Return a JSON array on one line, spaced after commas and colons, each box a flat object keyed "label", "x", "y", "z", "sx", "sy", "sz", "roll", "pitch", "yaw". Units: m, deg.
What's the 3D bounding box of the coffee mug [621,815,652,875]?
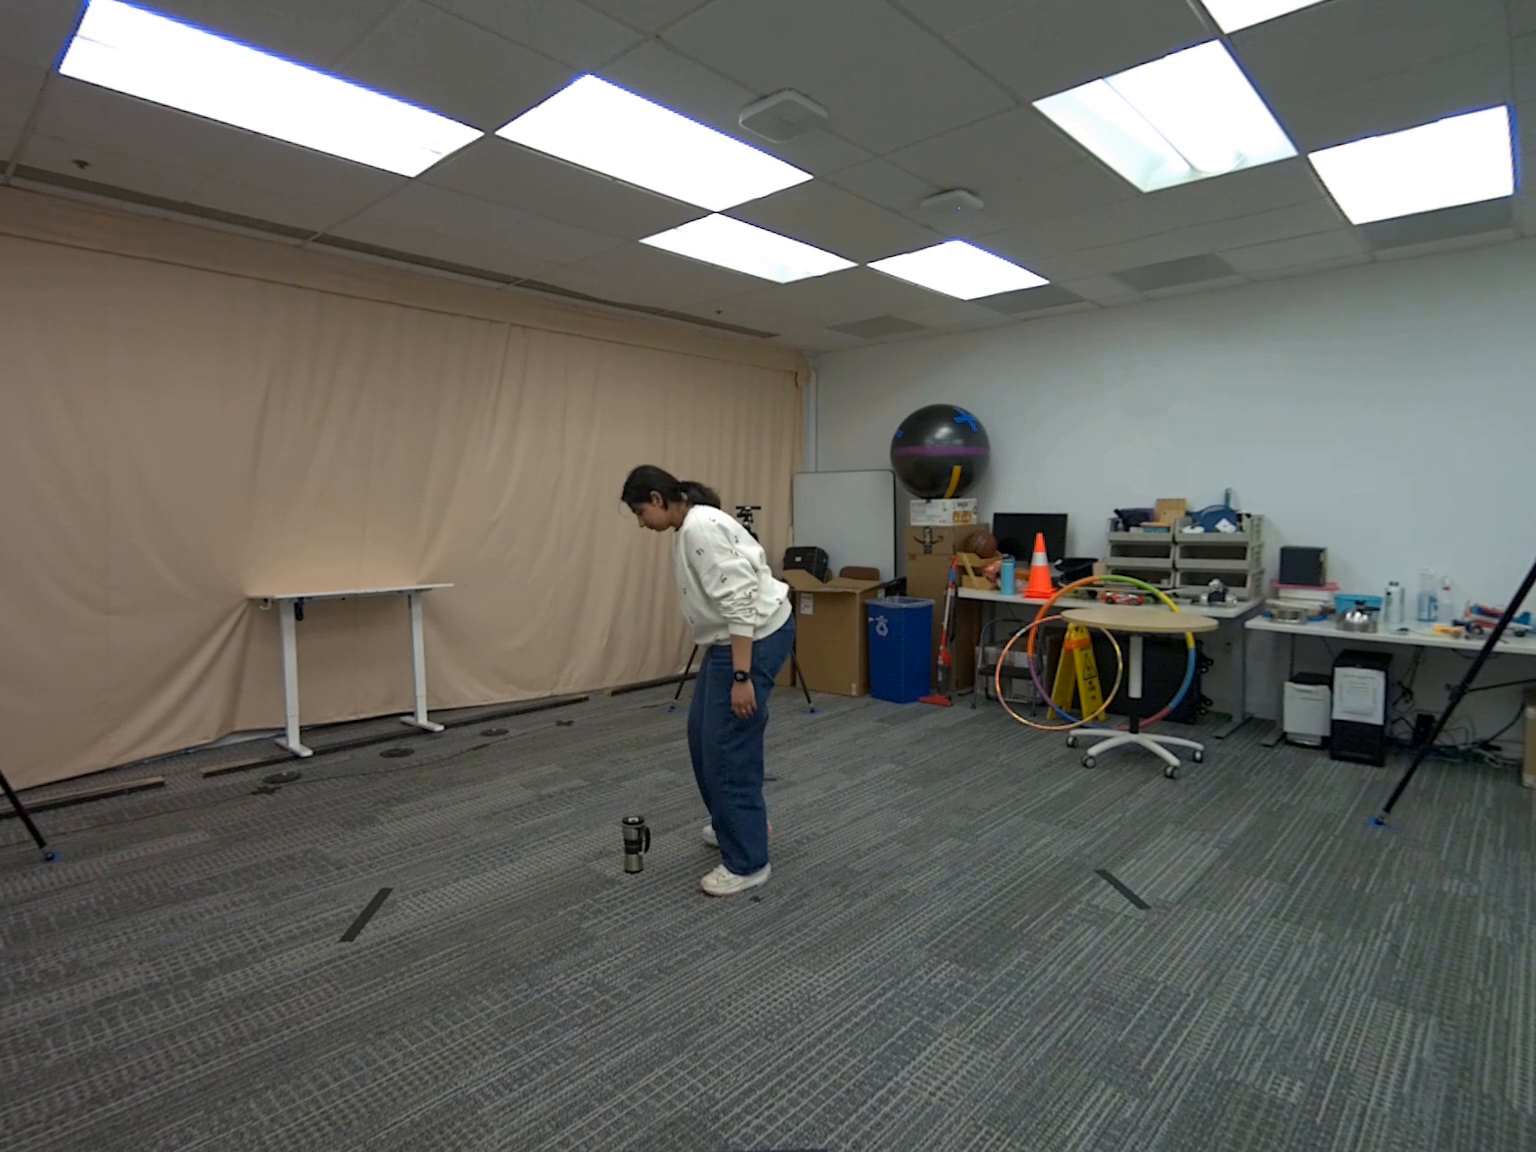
[{"label": "coffee mug", "x": -0.510, "y": 1.034, "z": 3.204, "sx": 0.085, "sy": 0.203, "sz": 0.126, "roll": 0, "pitch": 0, "yaw": -40}]
